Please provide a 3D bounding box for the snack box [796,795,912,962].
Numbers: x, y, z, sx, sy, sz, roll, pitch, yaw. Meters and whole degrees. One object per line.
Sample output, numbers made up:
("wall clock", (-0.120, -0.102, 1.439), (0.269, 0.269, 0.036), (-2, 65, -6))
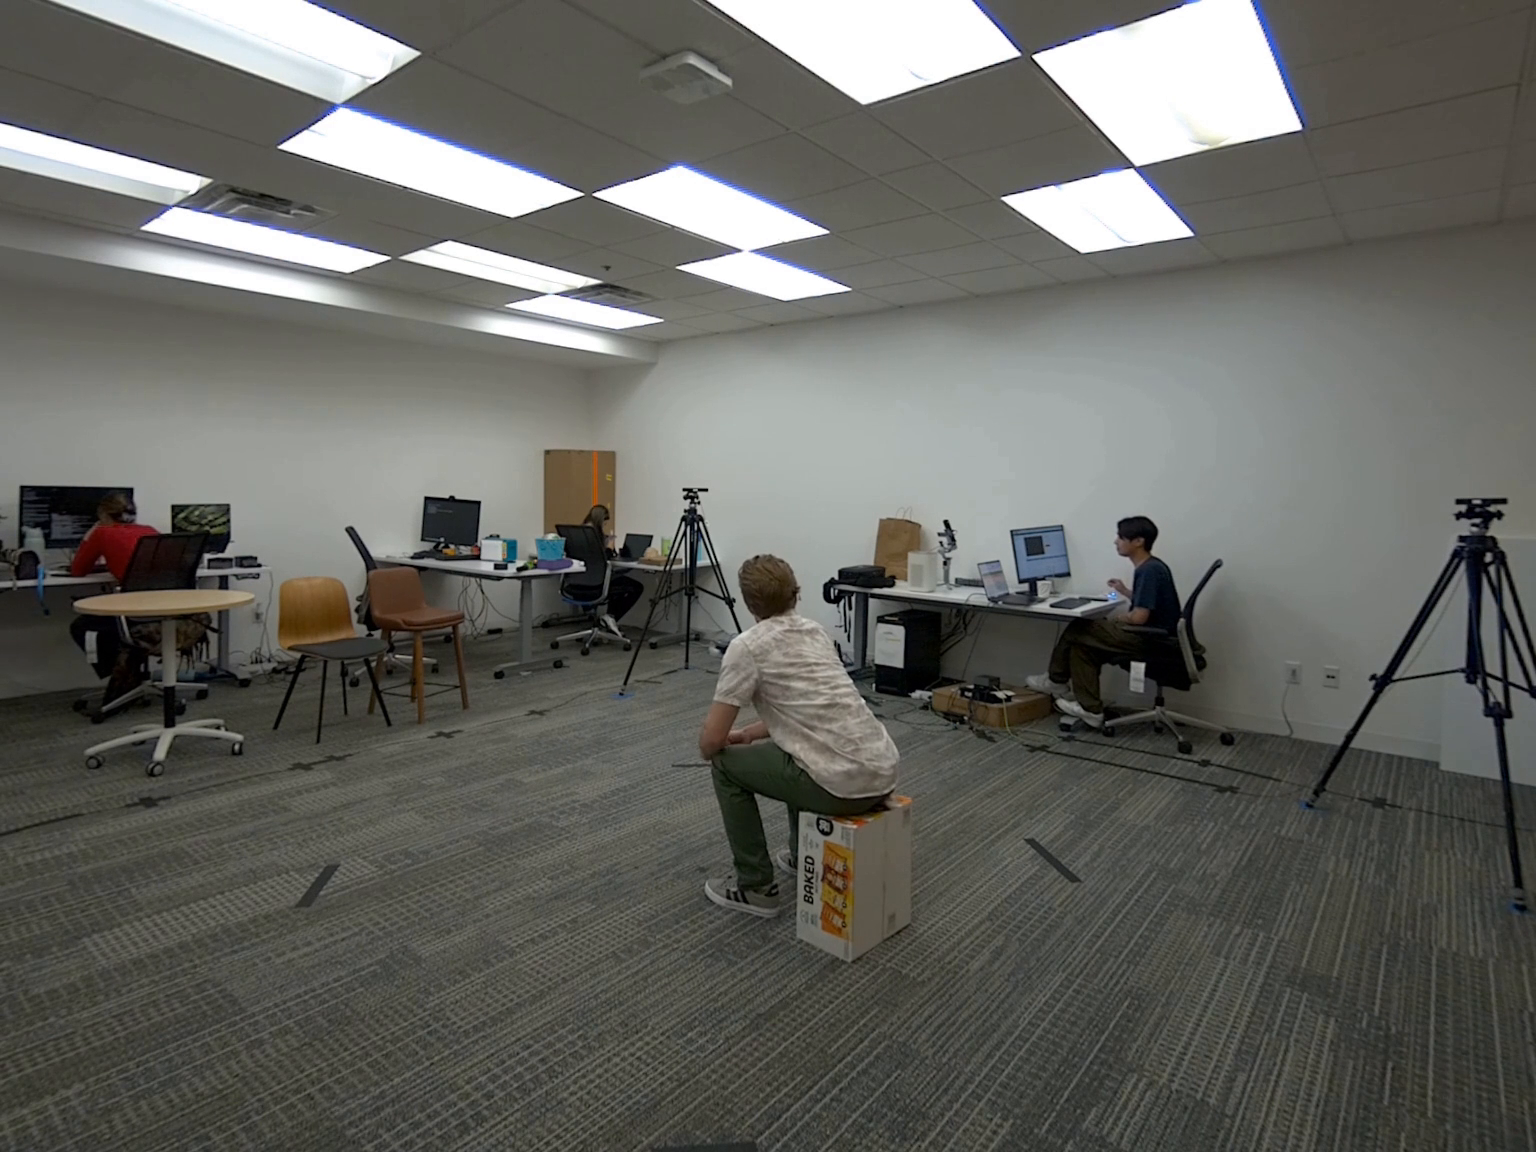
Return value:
("snack box", (0.276, 0.922, 2.688), (0.212, 0.404, 0.330), (2, 3, 42))
